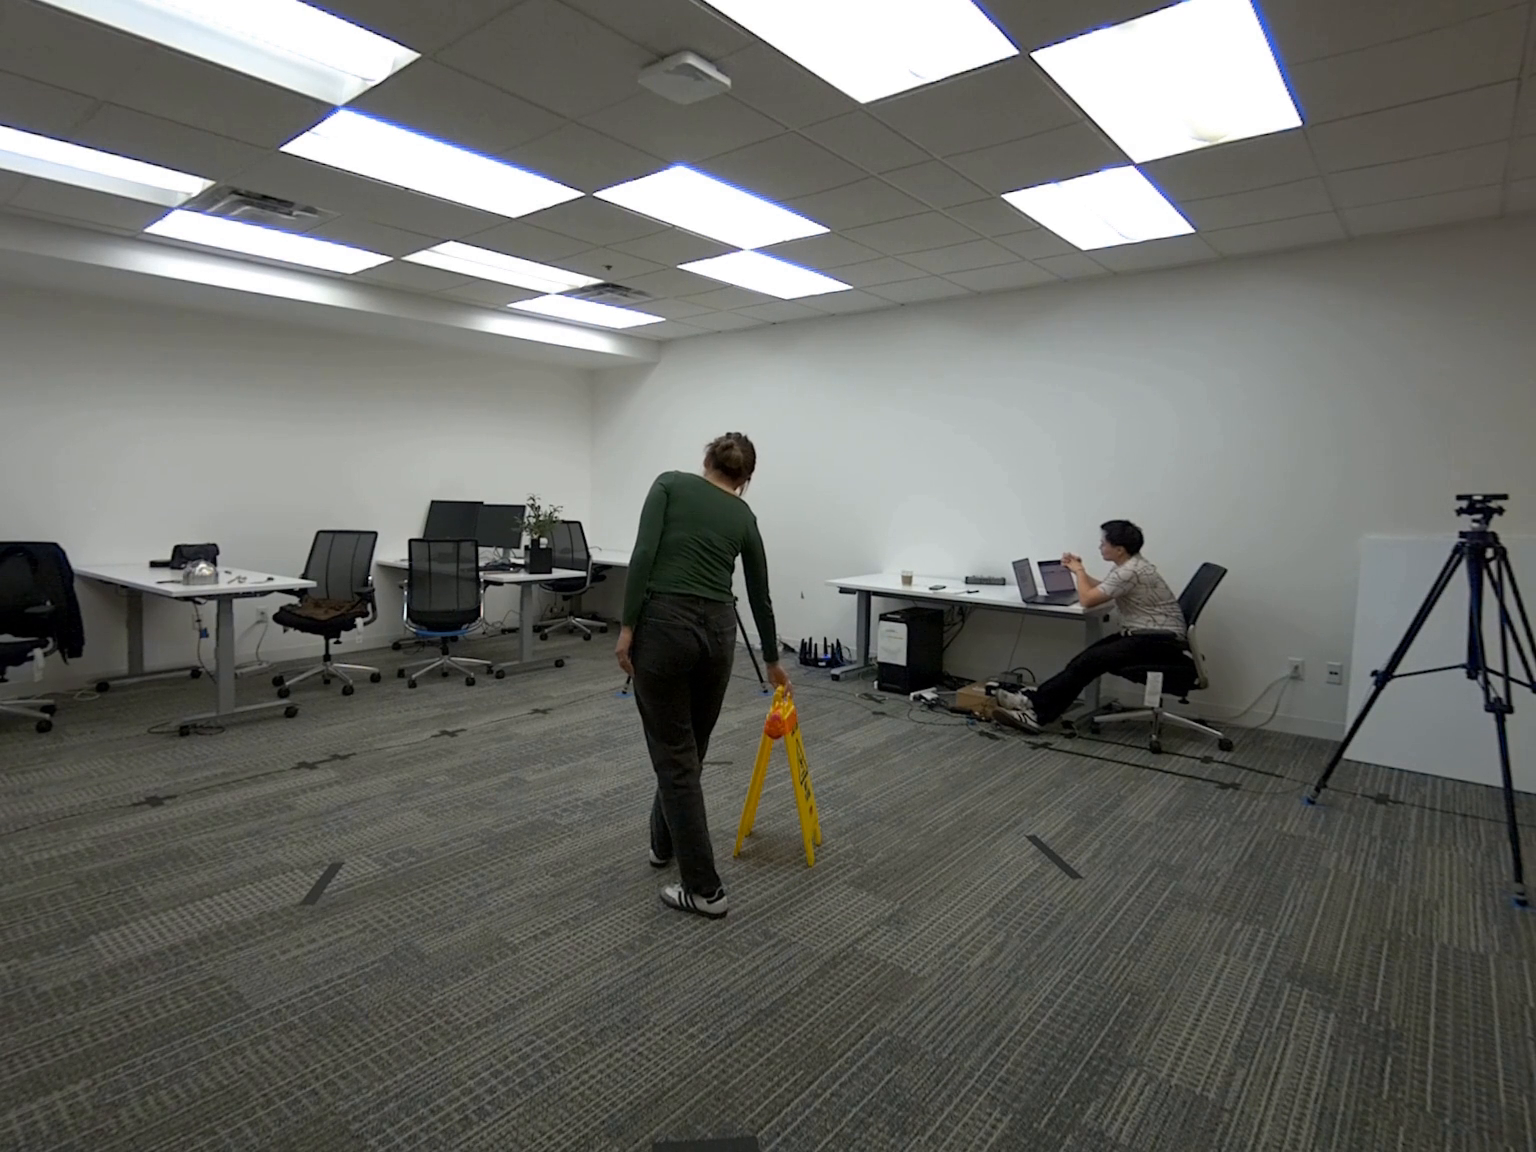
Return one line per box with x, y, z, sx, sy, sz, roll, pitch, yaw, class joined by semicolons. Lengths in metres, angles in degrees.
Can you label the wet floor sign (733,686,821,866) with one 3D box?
0.036;0.731;3.286;0.294;0.645;0.278;2;2;13;wet floor sign
